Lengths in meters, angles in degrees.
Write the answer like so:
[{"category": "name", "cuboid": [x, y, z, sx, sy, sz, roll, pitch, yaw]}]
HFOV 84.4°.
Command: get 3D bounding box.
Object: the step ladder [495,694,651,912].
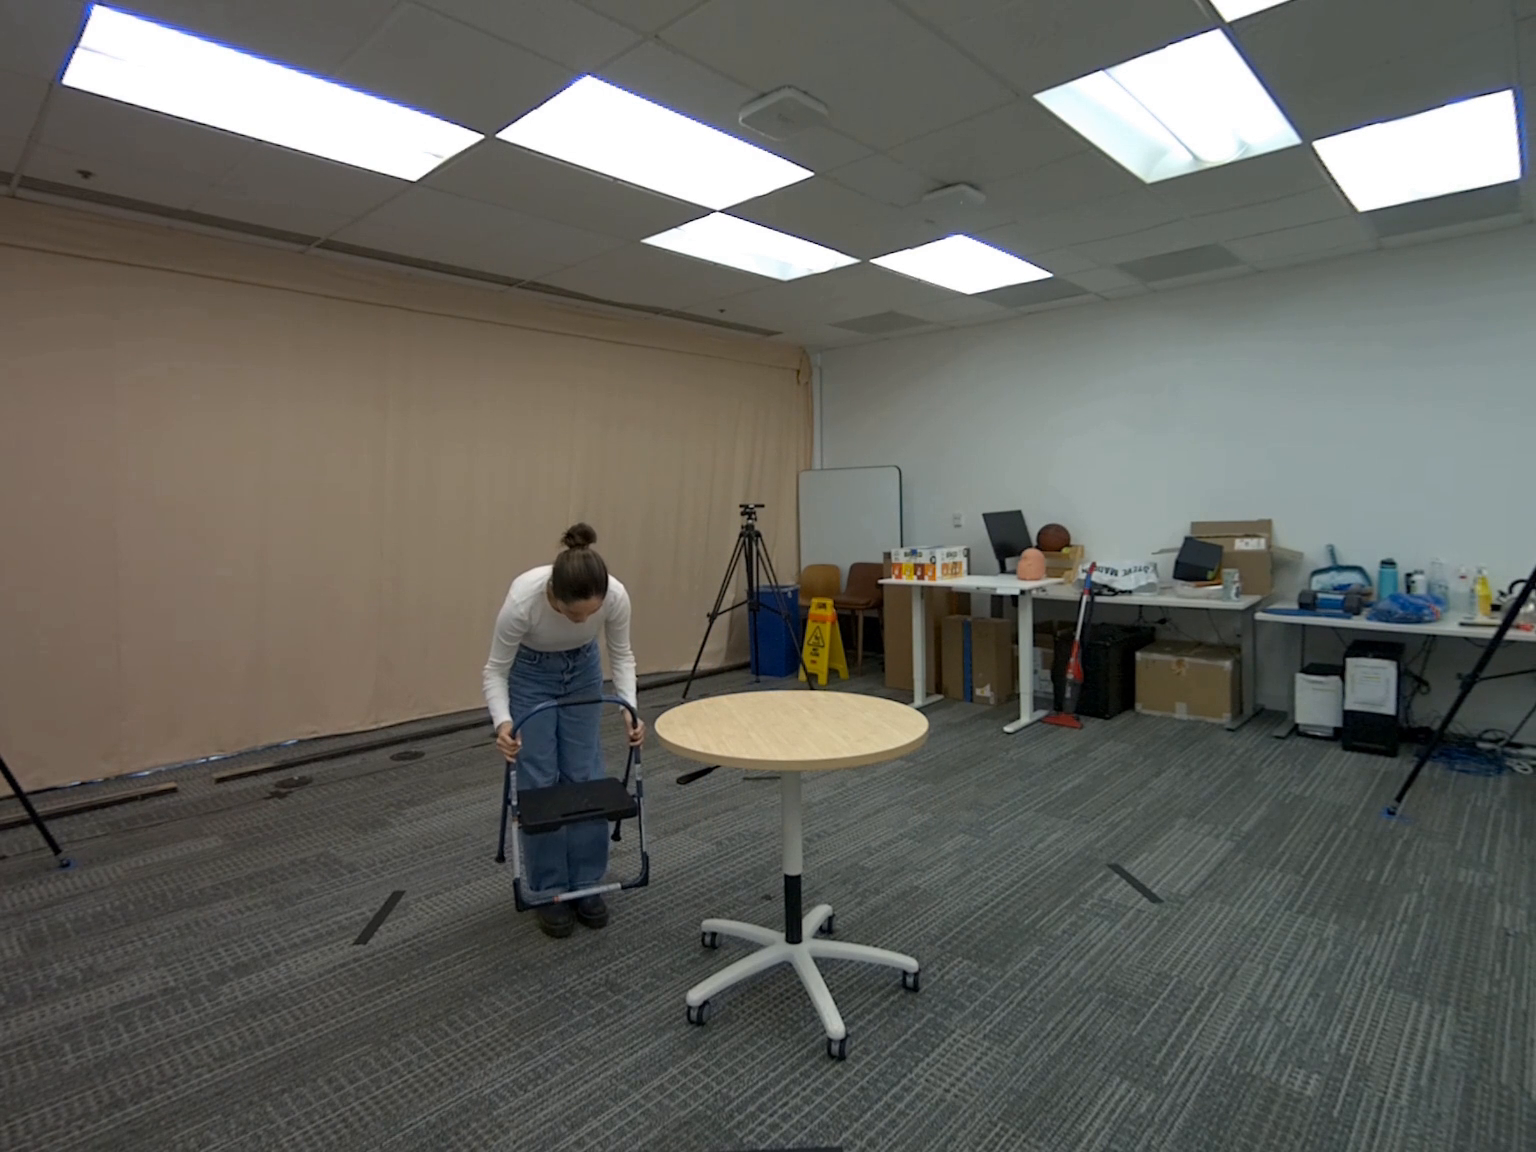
[{"category": "step ladder", "cuboid": [-0.619, 0.649, 2.649, 0.420, 0.603, 0.360, -2, 10, -26]}]
